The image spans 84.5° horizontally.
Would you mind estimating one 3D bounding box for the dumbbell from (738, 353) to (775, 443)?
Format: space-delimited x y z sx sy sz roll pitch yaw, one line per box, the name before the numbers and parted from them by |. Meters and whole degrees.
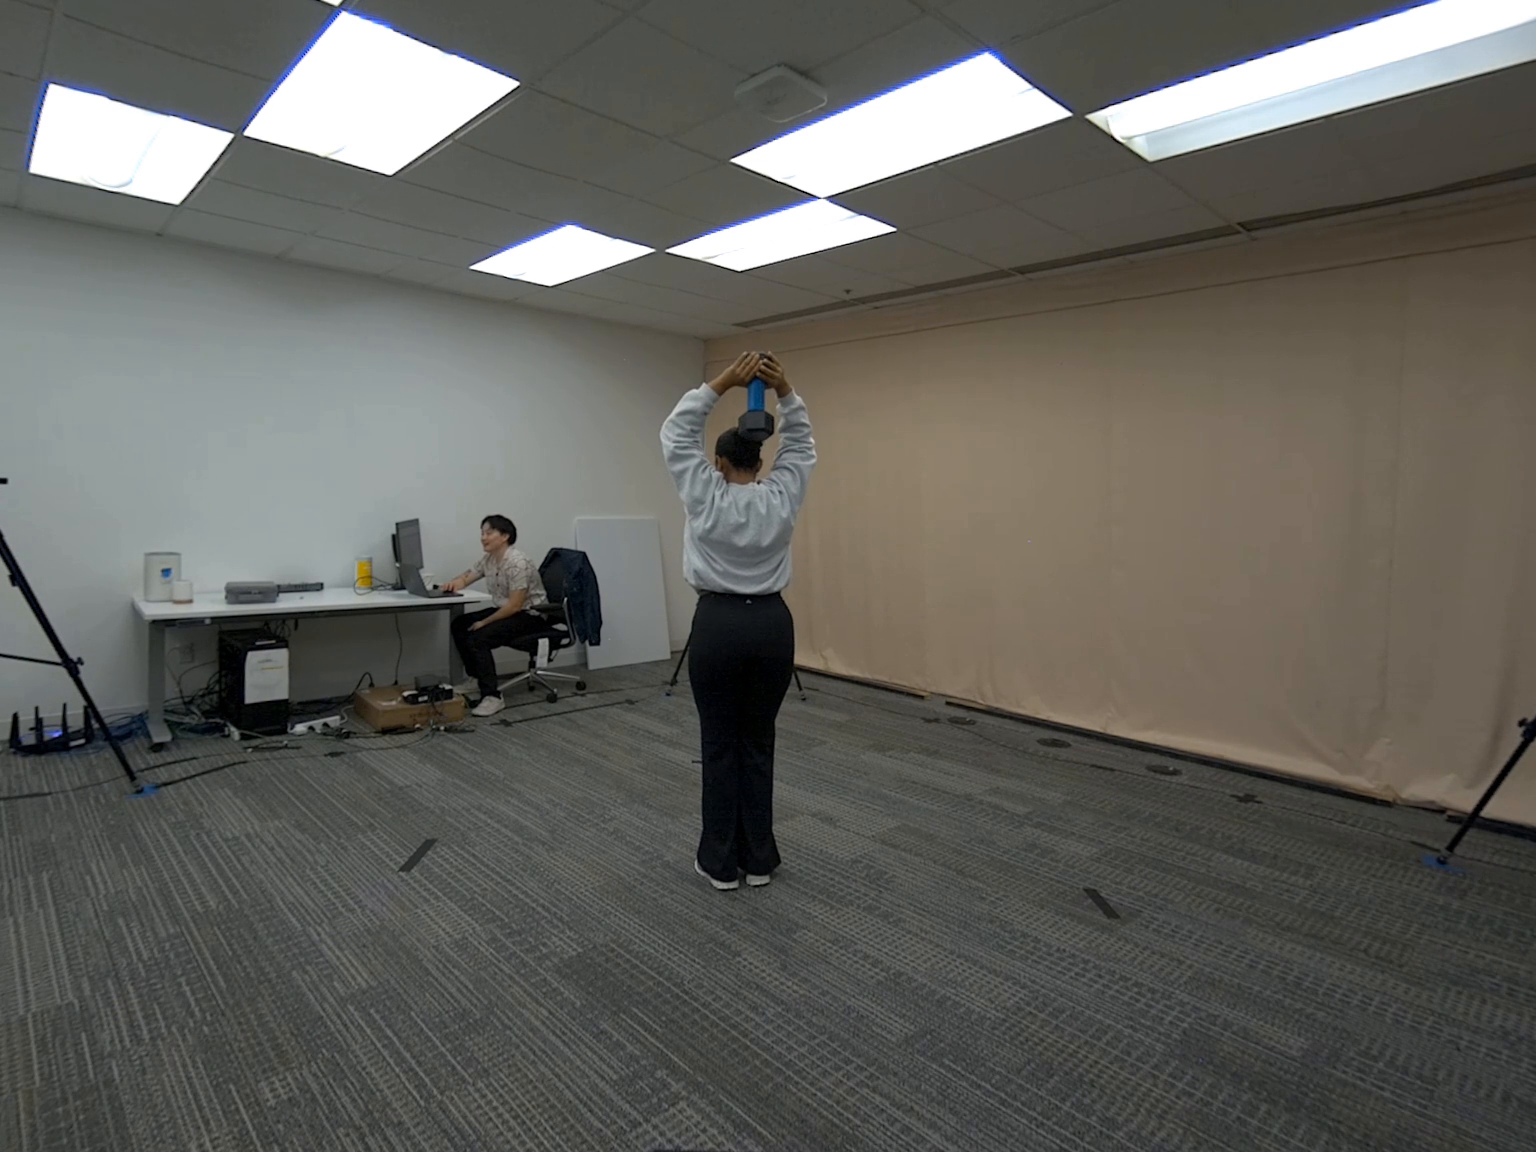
dumbbell | -0.054 -0.611 2.879 0.111 0.296 0.119 -8 -16 31
